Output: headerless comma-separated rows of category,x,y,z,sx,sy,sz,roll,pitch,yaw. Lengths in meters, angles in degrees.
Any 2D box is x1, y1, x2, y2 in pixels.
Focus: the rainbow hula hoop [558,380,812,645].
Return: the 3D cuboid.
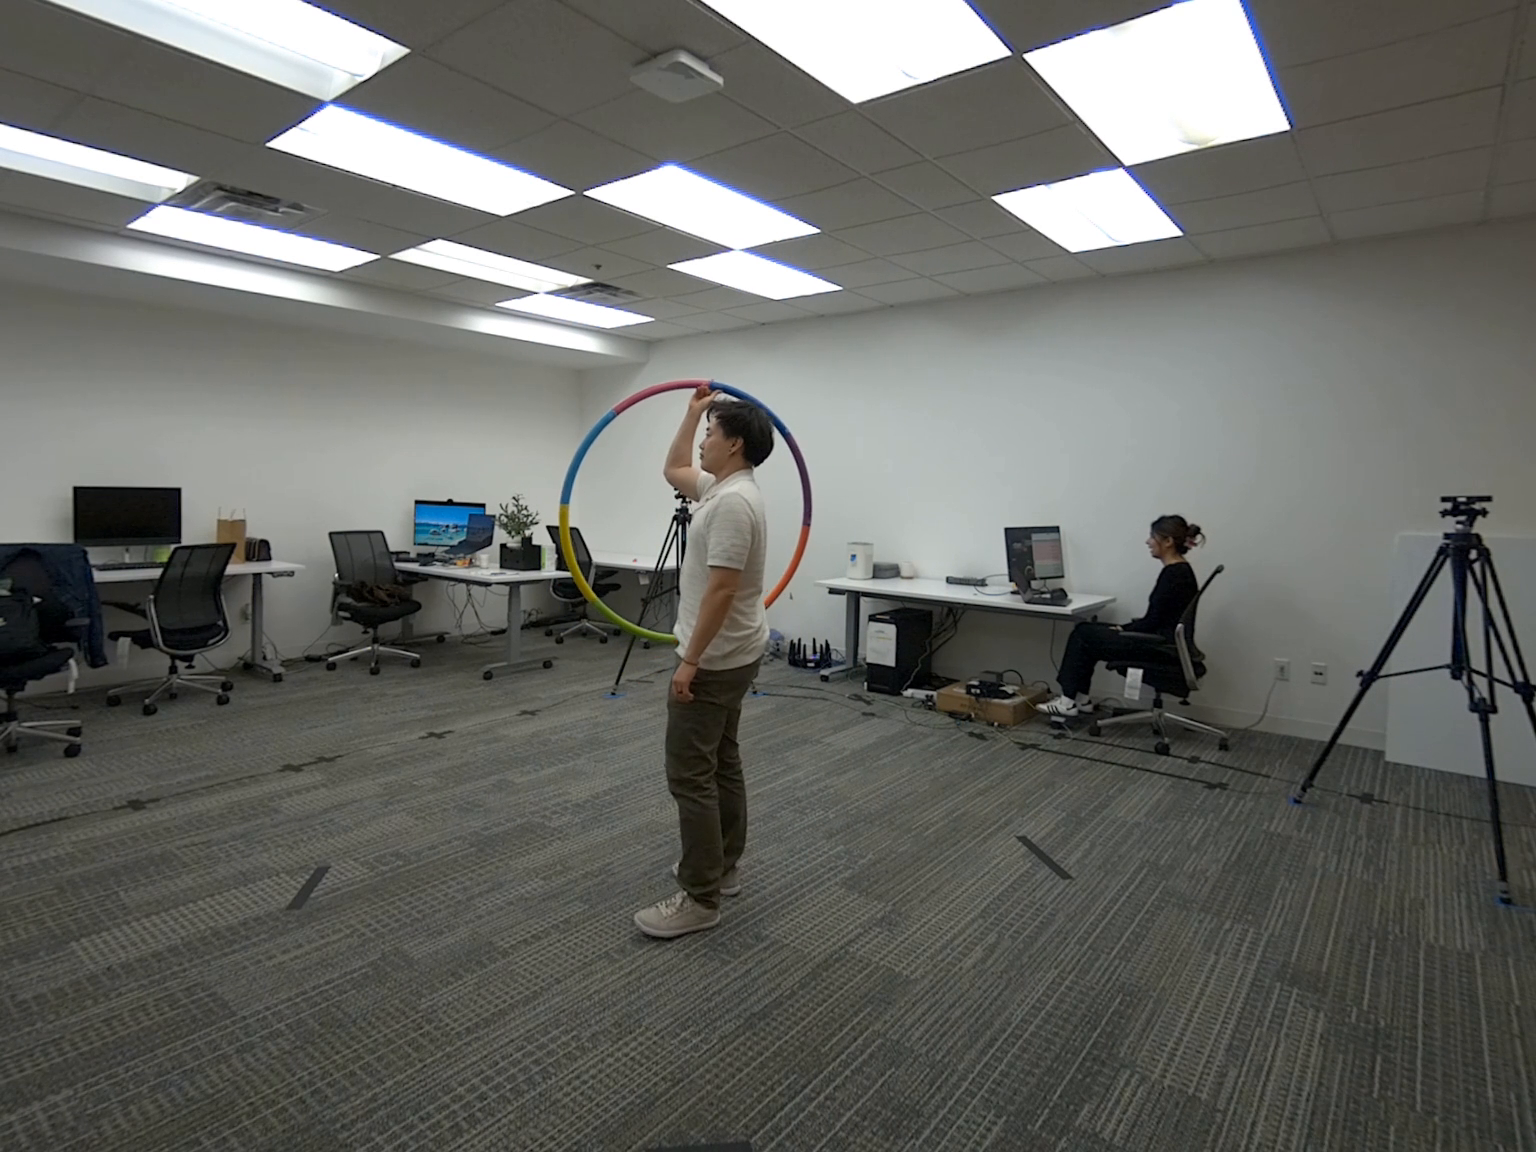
rainbow hula hoop,-0.292,-0.231,3.154,0.959,0.970,0.036,0,10,-20
